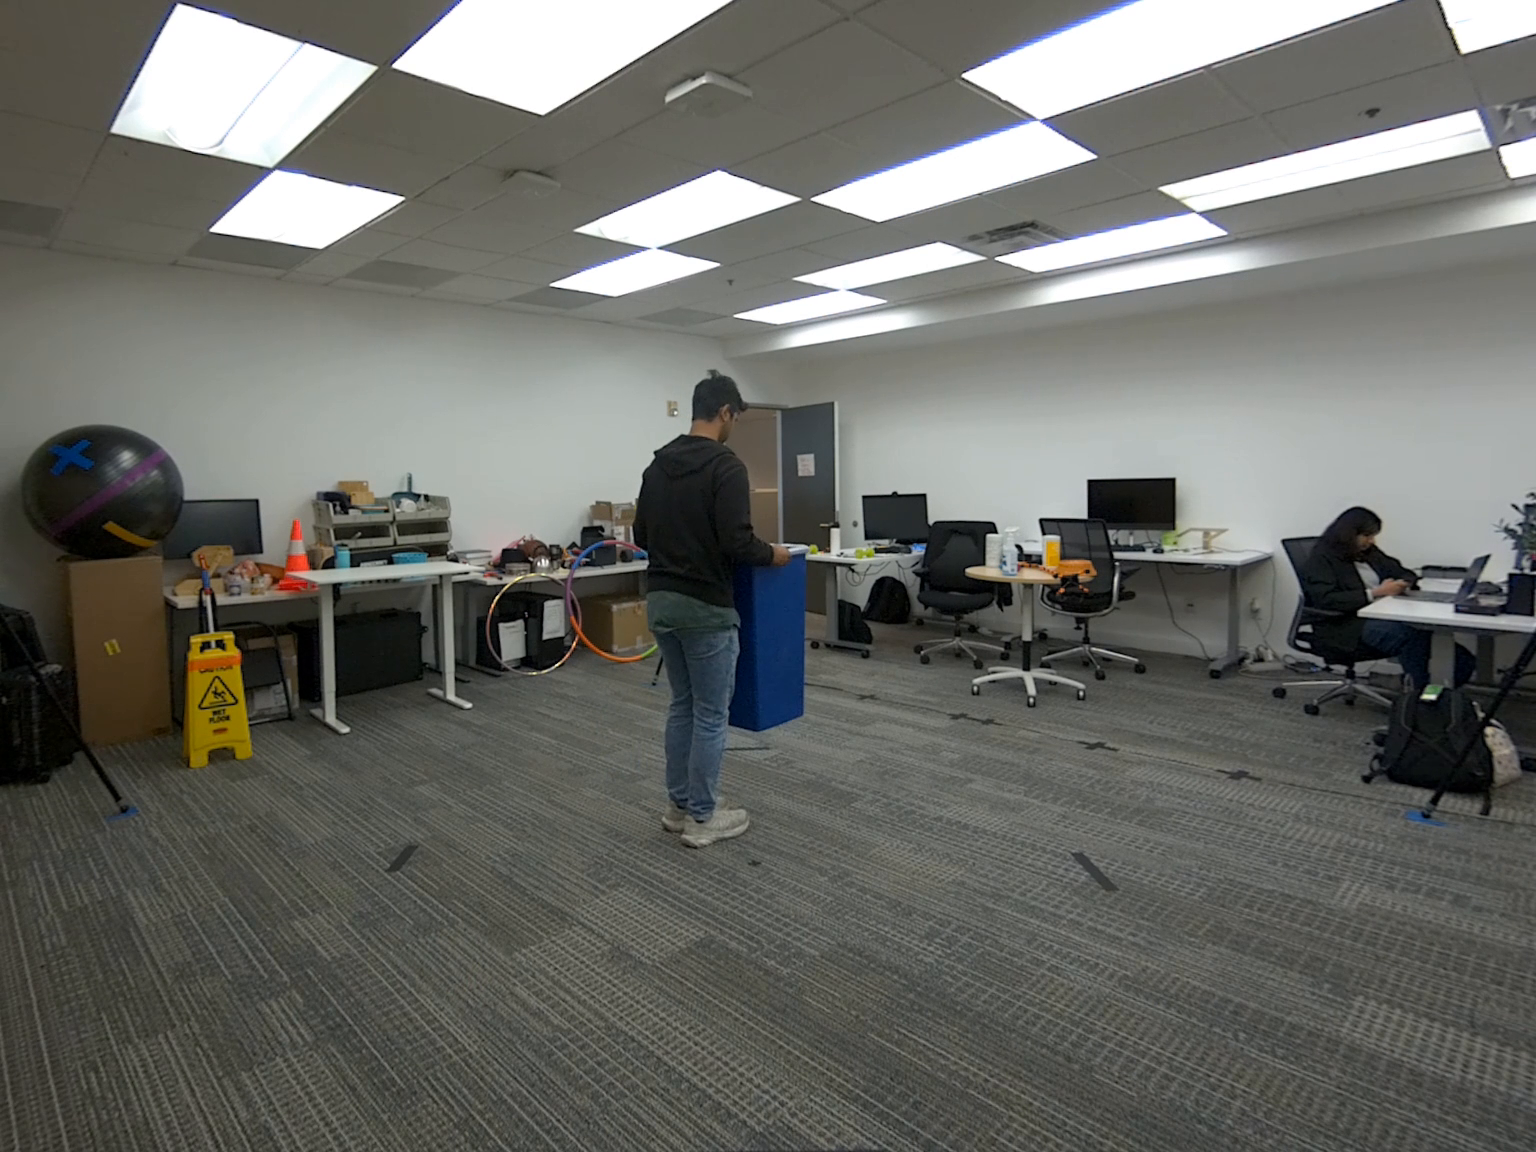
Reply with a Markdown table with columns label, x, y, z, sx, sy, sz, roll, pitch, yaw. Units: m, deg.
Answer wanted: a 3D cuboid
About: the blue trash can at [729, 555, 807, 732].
| label | x | y | z | sx | sy | sz | roll | pitch | yaw |
| --- | --- | --- | --- | --- | --- | --- | --- | --- | --- |
| blue trash can | -0.057 | 0.255 | 3.568 | 0.385 | 0.710 | 0.368 | 3 | 6 | 42 |
